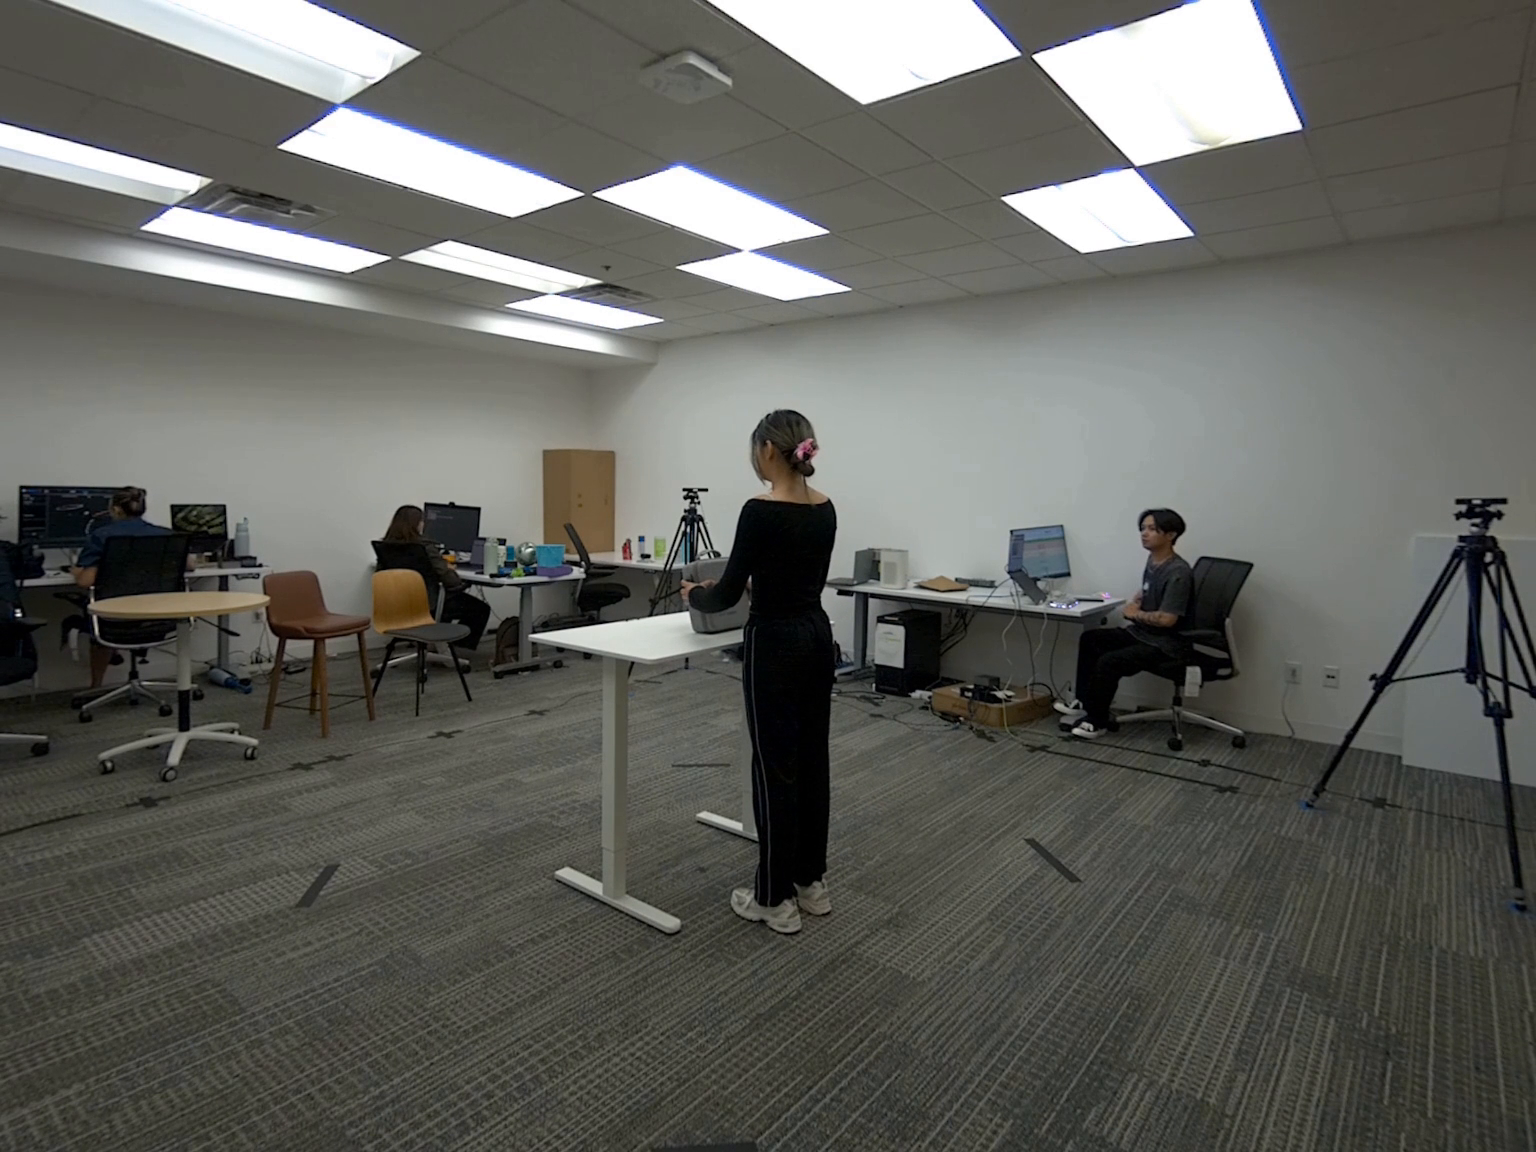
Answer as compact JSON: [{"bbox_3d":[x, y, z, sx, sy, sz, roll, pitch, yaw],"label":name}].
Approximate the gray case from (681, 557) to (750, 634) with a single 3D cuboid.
[{"bbox_3d":[-0.190,0.061,3.062,0.107,0.262,0.249,-15,-7,38],"label":"gray case"}]
